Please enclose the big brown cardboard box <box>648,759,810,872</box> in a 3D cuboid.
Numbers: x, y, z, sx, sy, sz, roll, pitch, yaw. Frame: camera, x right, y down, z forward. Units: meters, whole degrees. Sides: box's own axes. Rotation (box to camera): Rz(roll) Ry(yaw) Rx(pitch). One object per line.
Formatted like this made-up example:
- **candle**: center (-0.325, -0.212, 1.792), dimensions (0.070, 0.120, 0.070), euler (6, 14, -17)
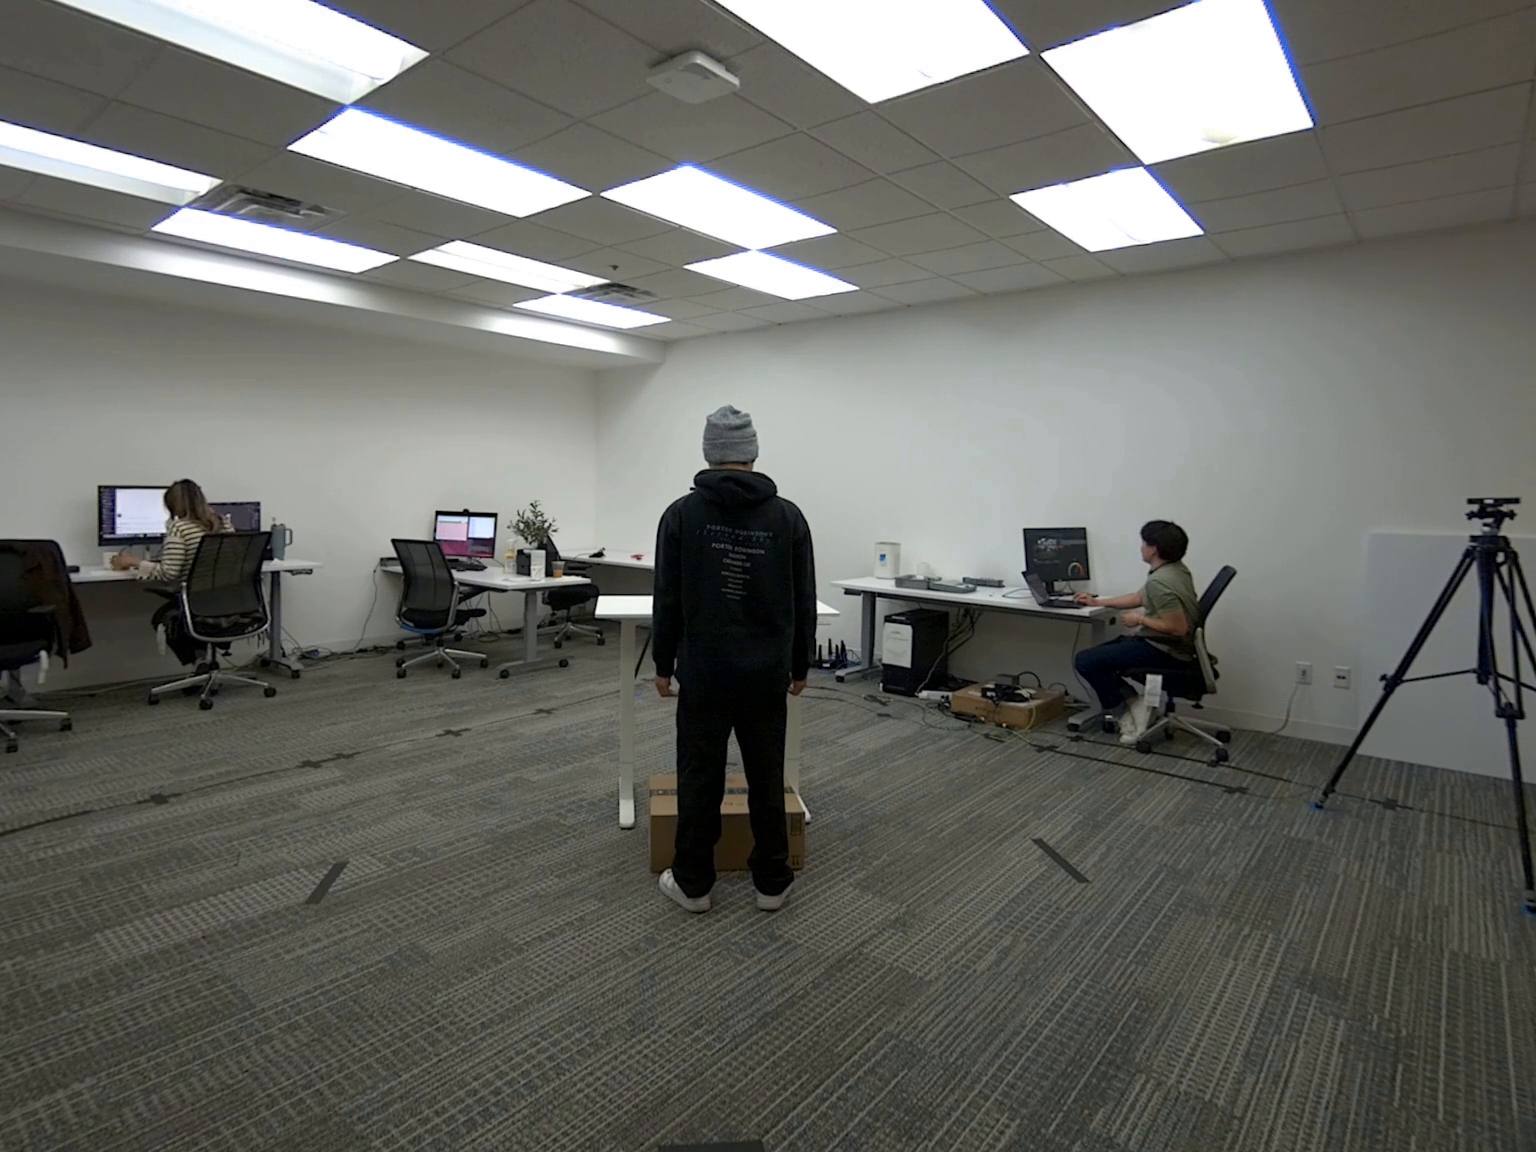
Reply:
- **big brown cardboard box**: center (-0.183, 0.935, 3.280), dimensions (0.585, 0.232, 0.422), euler (1, 5, -6)
